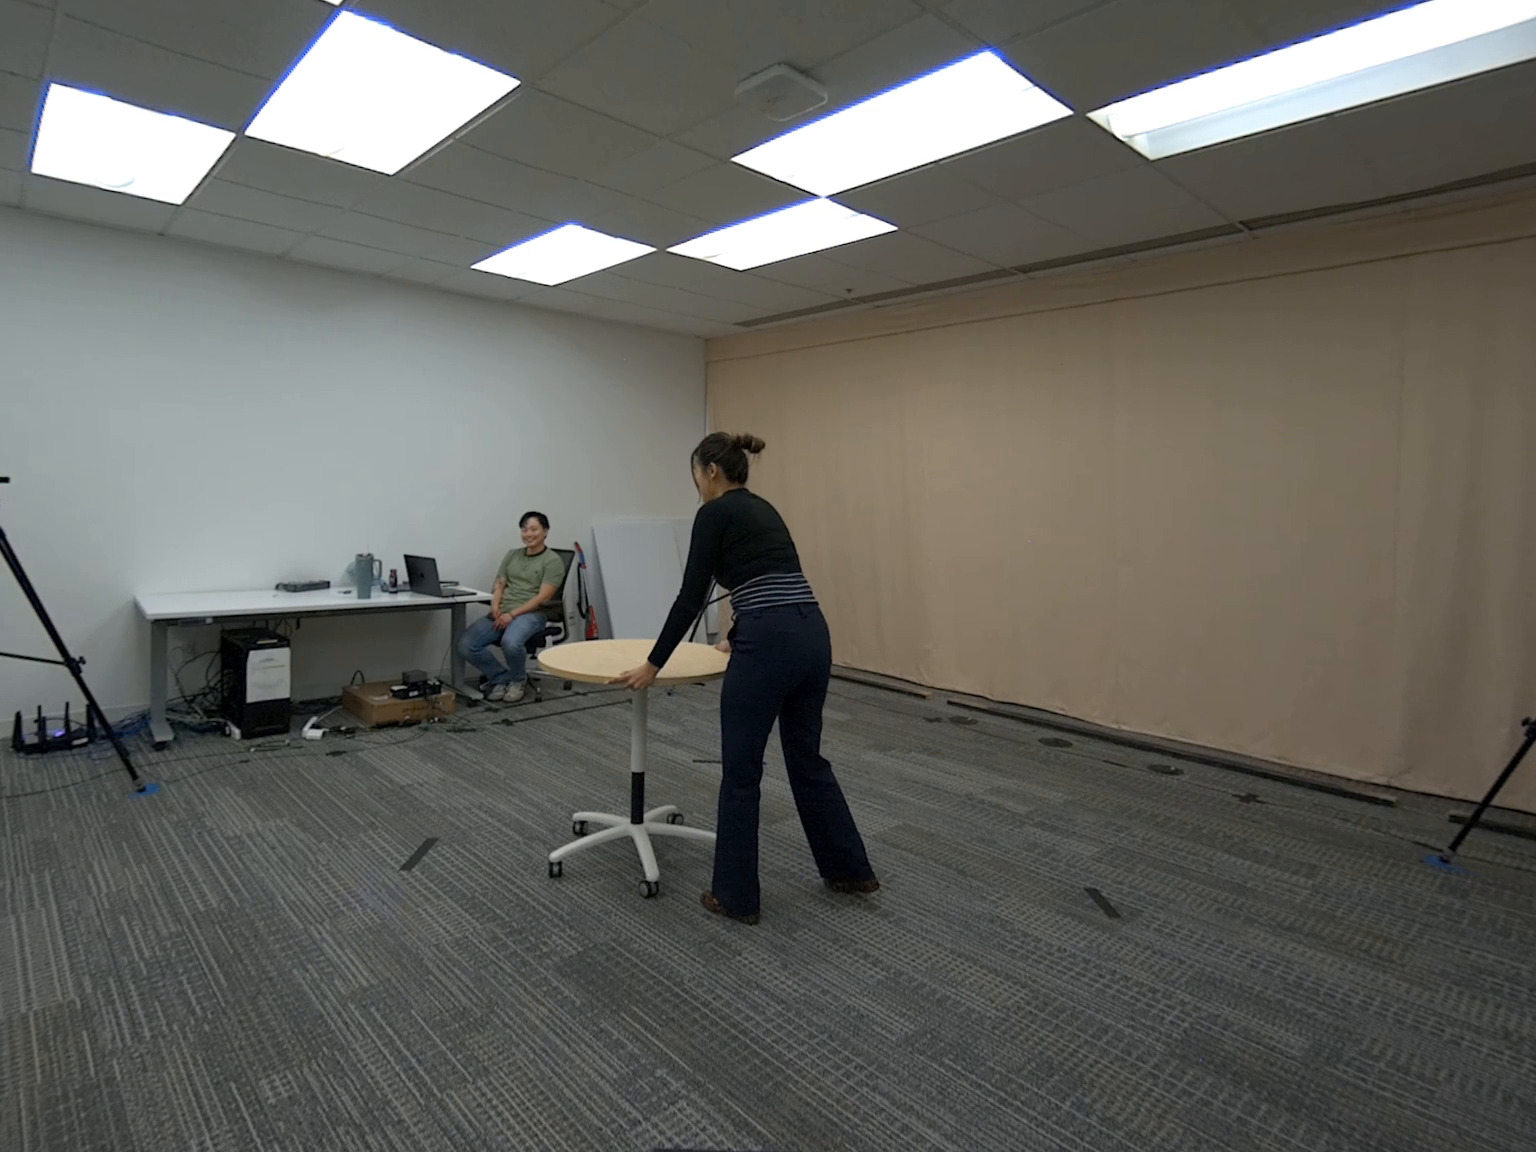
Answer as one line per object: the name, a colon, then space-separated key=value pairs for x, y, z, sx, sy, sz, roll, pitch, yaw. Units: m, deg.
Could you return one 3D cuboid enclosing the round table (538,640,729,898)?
round table: x=-0.498 y=0.696 z=3.215 sx=0.763 sy=0.792 sz=0.766 roll=1 pitch=4 yaw=-1
